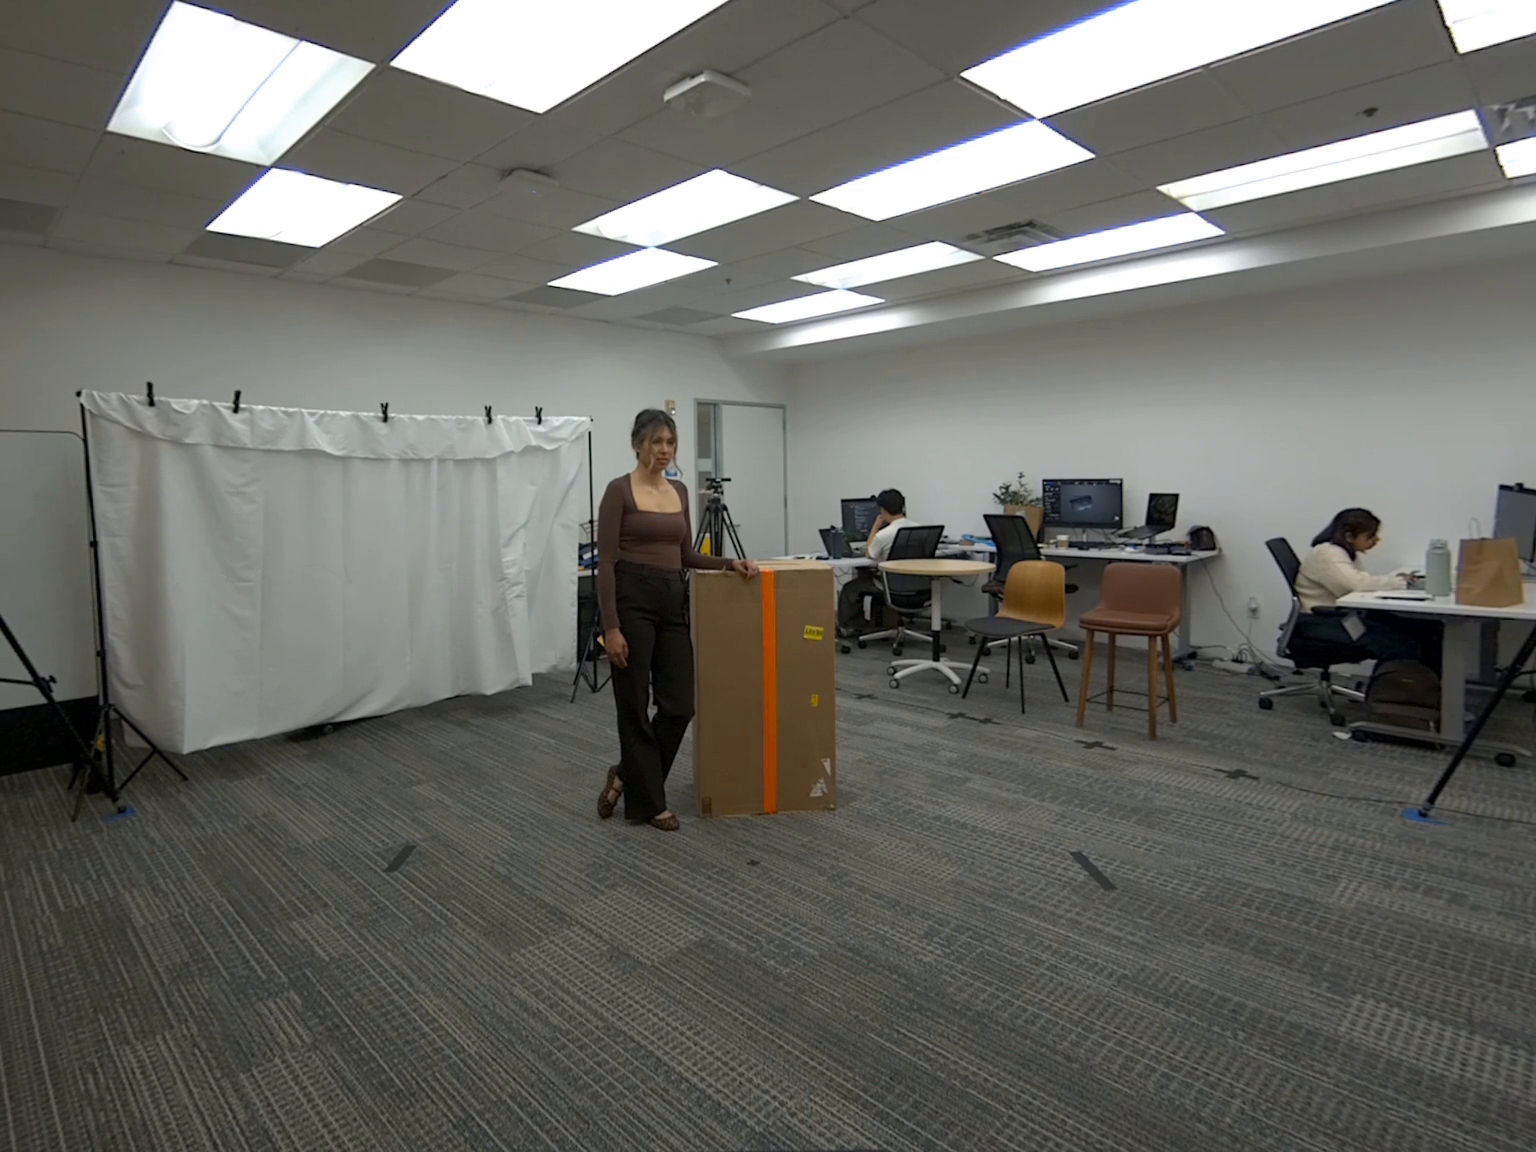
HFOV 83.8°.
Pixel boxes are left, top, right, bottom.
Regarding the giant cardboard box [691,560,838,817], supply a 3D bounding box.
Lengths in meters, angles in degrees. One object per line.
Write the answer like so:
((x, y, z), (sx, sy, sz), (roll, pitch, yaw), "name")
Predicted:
((-0.030, 0.461, 3.741), (0.579, 1.024, 0.452), (-1, 4, -8), "giant cardboard box")
